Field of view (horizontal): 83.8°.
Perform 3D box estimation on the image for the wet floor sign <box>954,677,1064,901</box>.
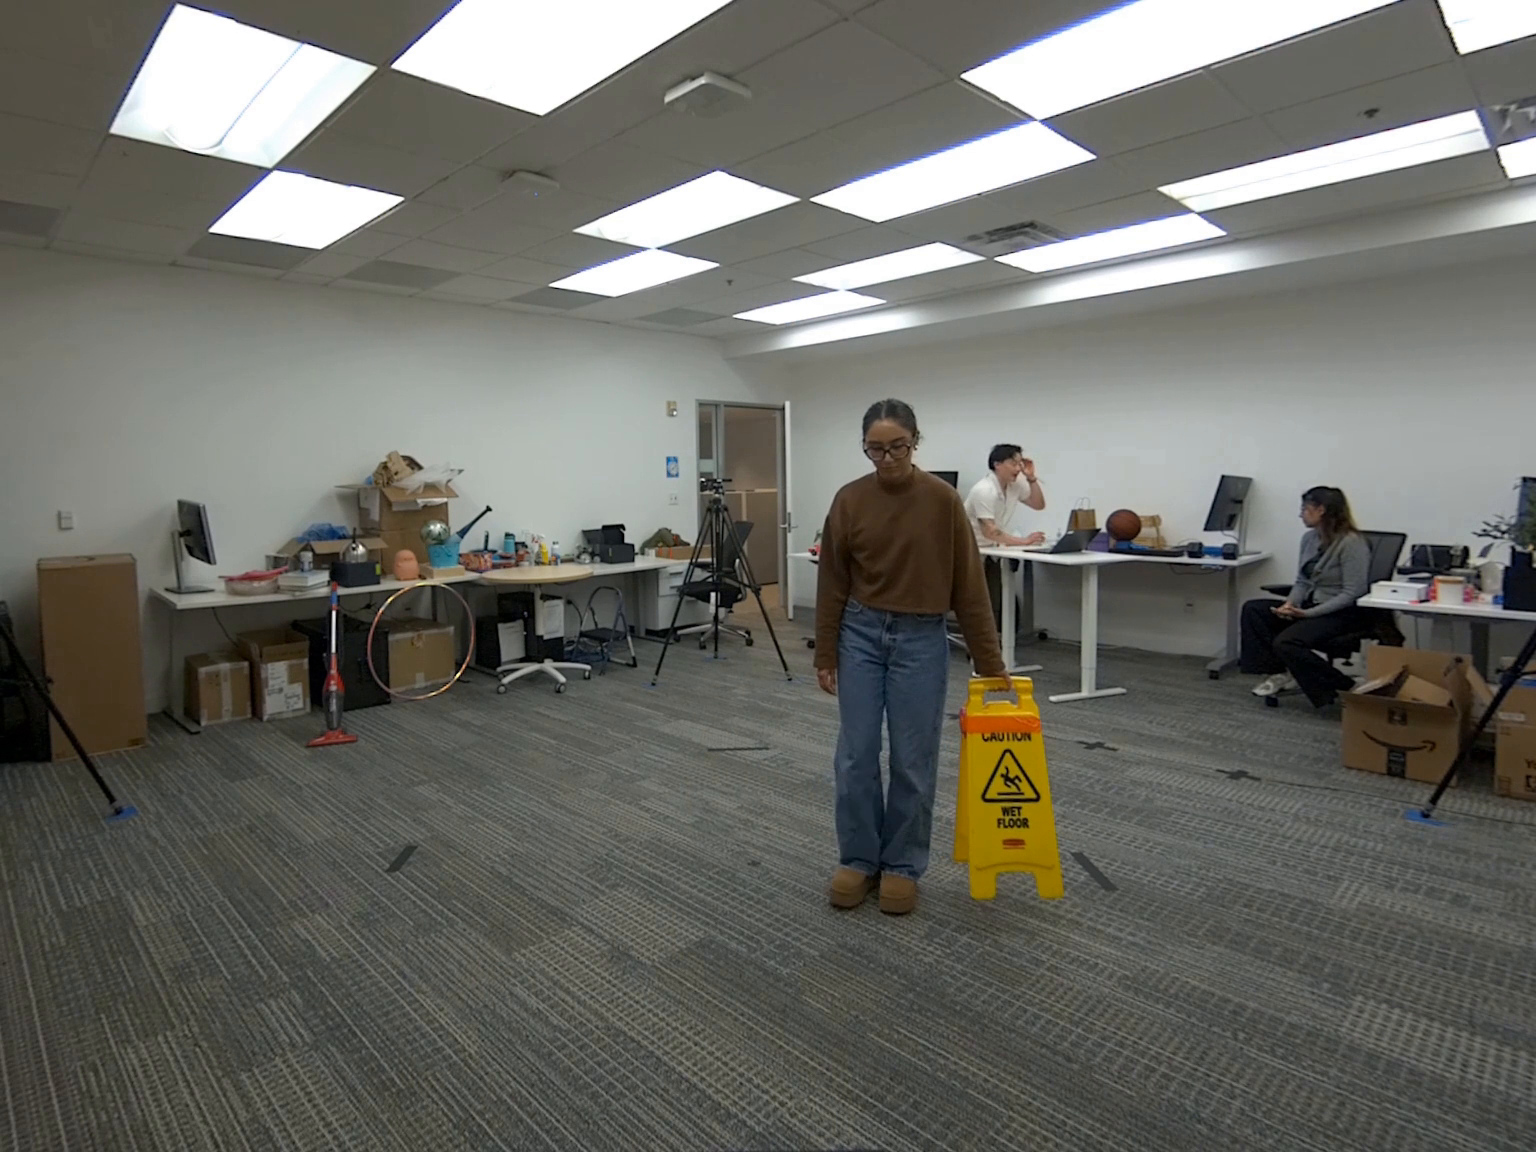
[{"bbox_3d":[0.749,0.649,2.718,0.283,0.645,0.290,-2,2,2],"label":"wet floor sign"}]
